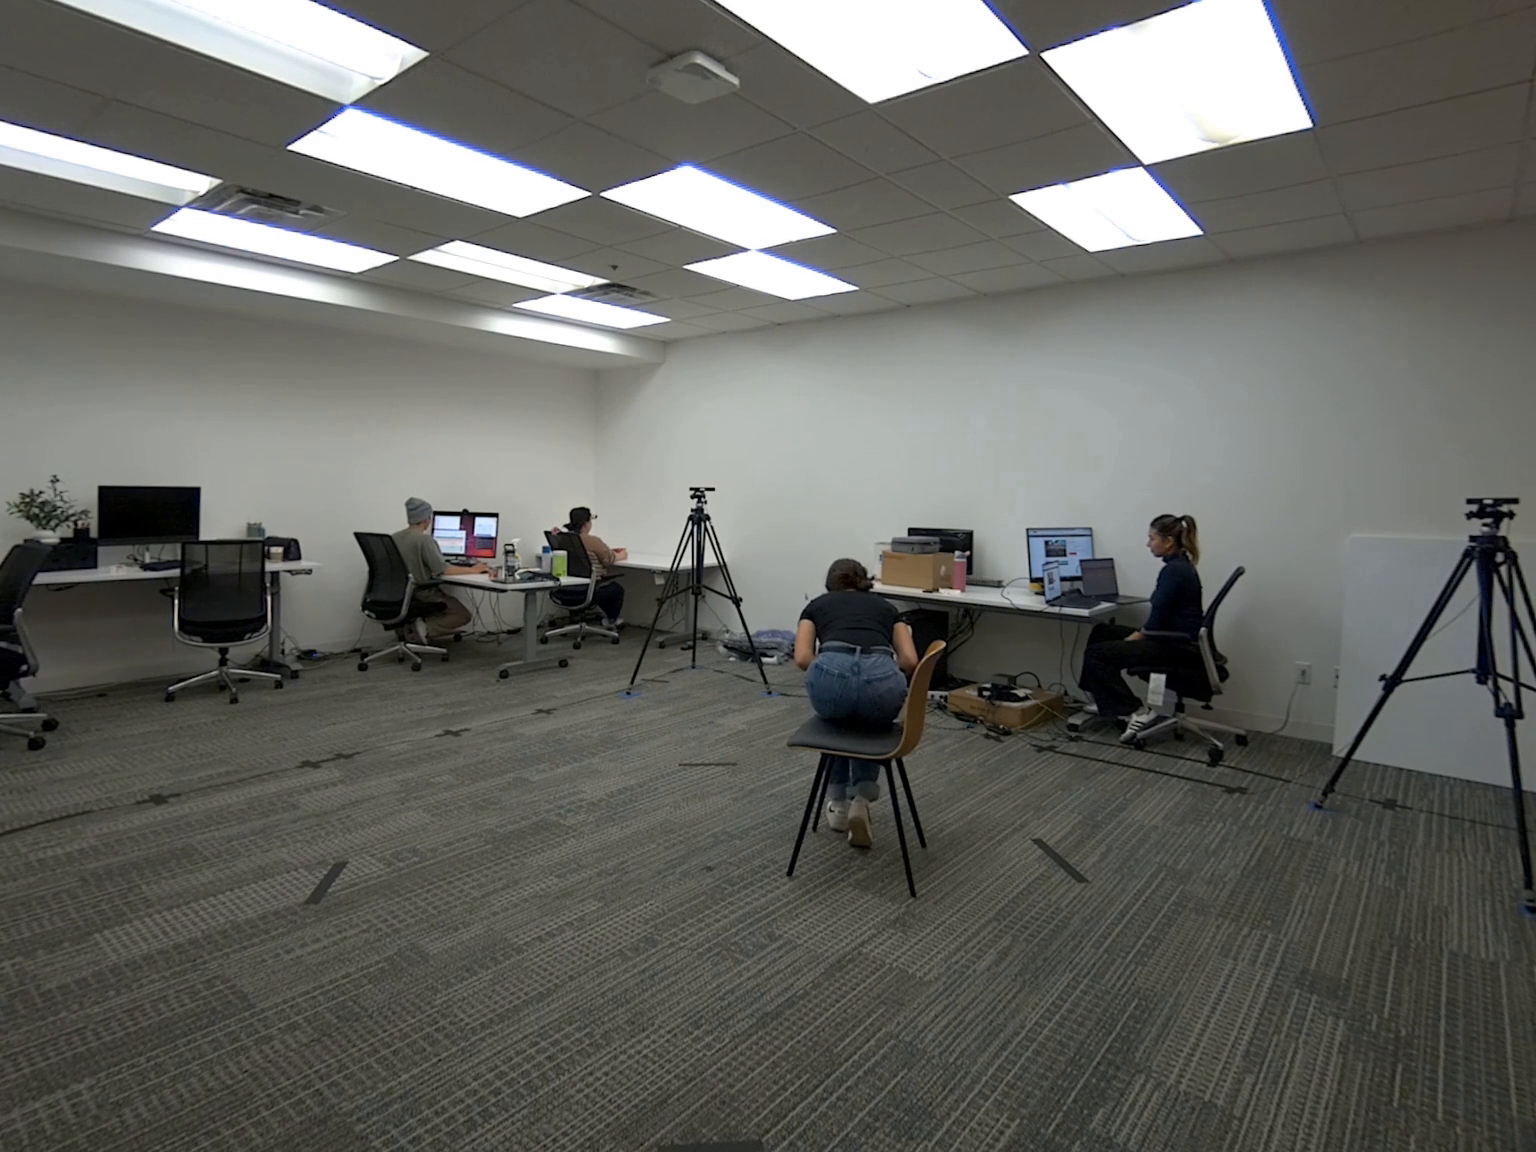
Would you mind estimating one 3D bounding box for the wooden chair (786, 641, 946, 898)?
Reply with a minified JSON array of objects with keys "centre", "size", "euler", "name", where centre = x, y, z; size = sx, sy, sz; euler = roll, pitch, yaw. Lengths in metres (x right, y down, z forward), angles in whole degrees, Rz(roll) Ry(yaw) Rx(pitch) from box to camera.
[{"centre":[0.338,0.648,3.173],"size":[0.533,0.875,0.470],"euler":[7,3,16],"name":"wooden chair"}]
